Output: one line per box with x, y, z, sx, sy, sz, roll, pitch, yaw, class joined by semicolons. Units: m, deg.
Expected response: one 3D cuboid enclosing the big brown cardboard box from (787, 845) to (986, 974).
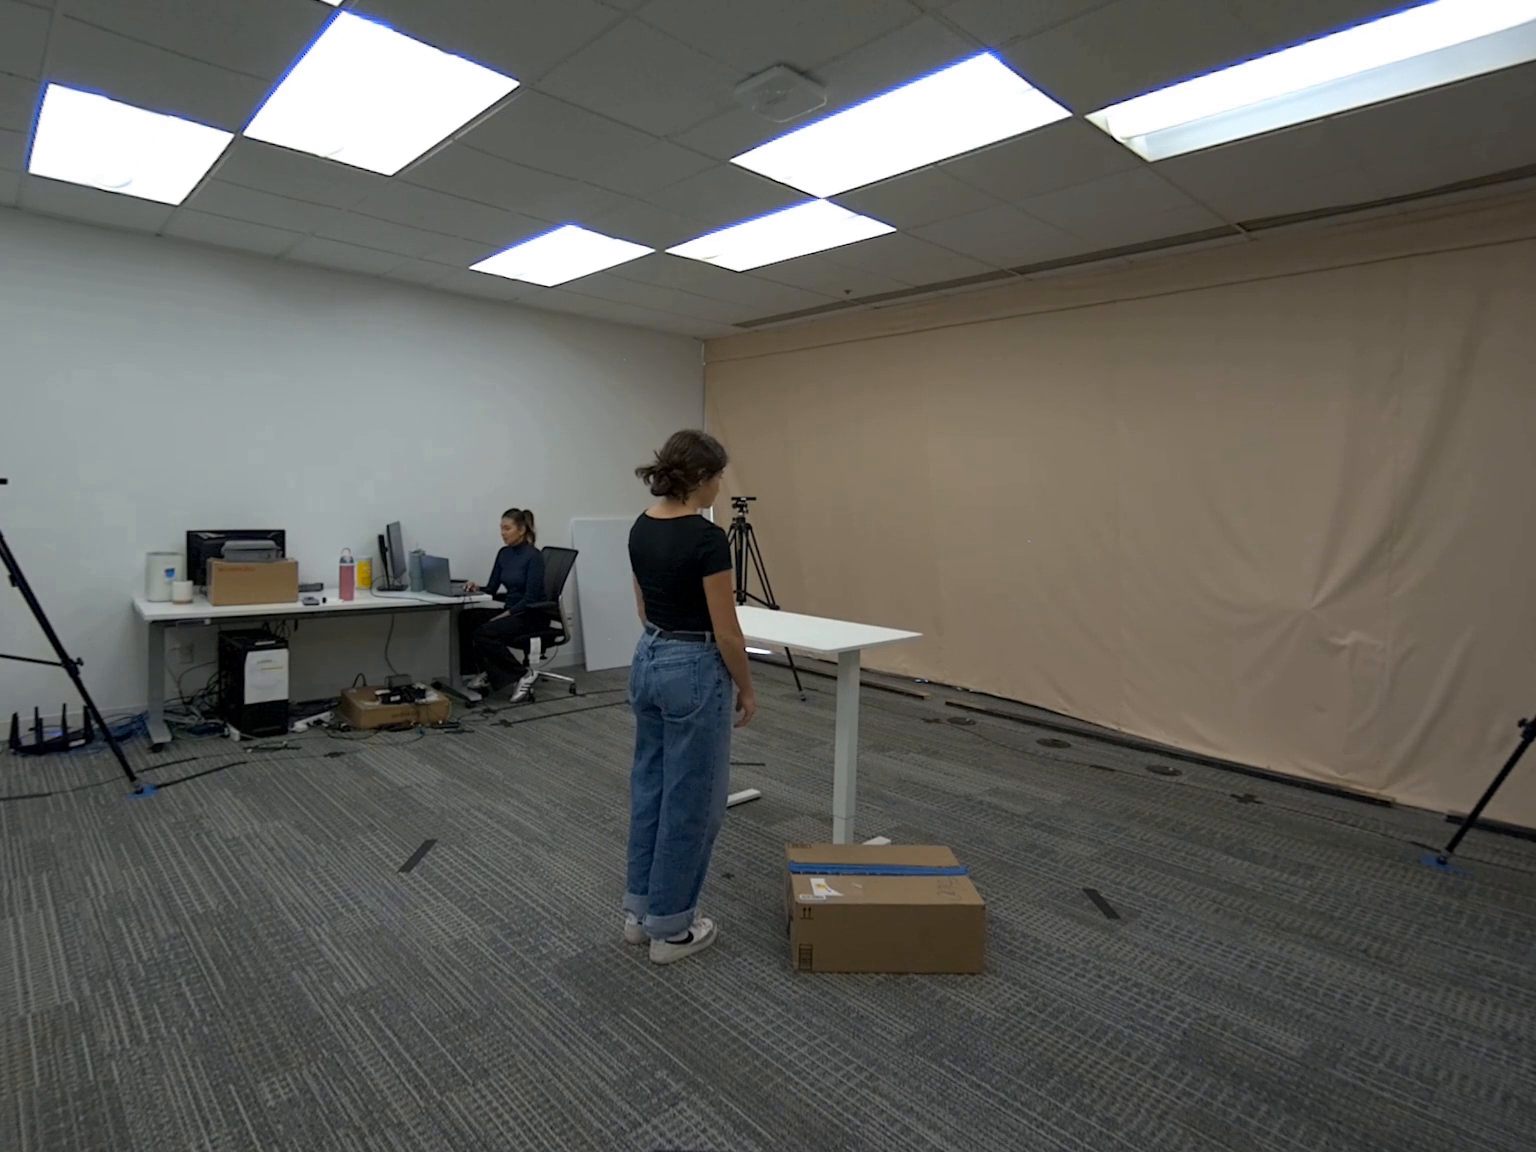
0.340;1.045;2.684;0.588;0.232;0.420;2;5;-3;big brown cardboard box
